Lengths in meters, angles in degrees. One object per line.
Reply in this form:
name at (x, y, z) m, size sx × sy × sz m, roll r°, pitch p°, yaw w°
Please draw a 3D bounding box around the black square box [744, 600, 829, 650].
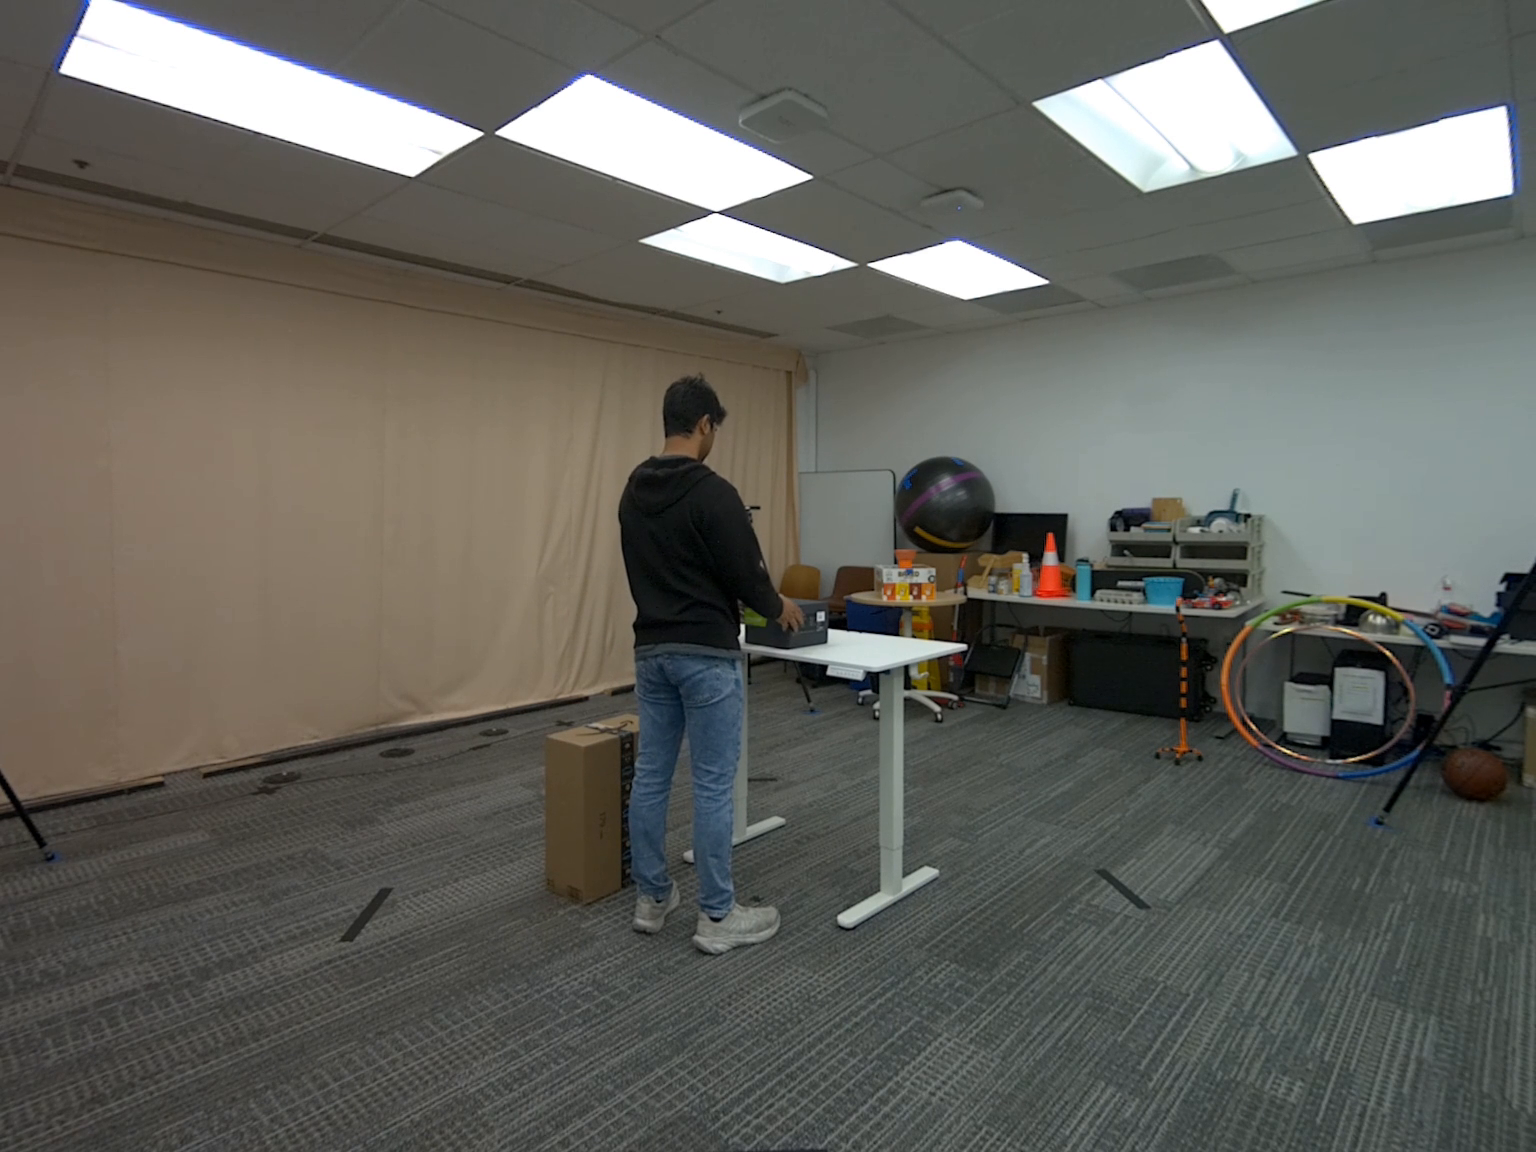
black square box at (0.068, 0.170, 3.128) m, size 0.210 × 0.155 × 0.235 m, roll -3°, pitch 5°, yaw -43°
